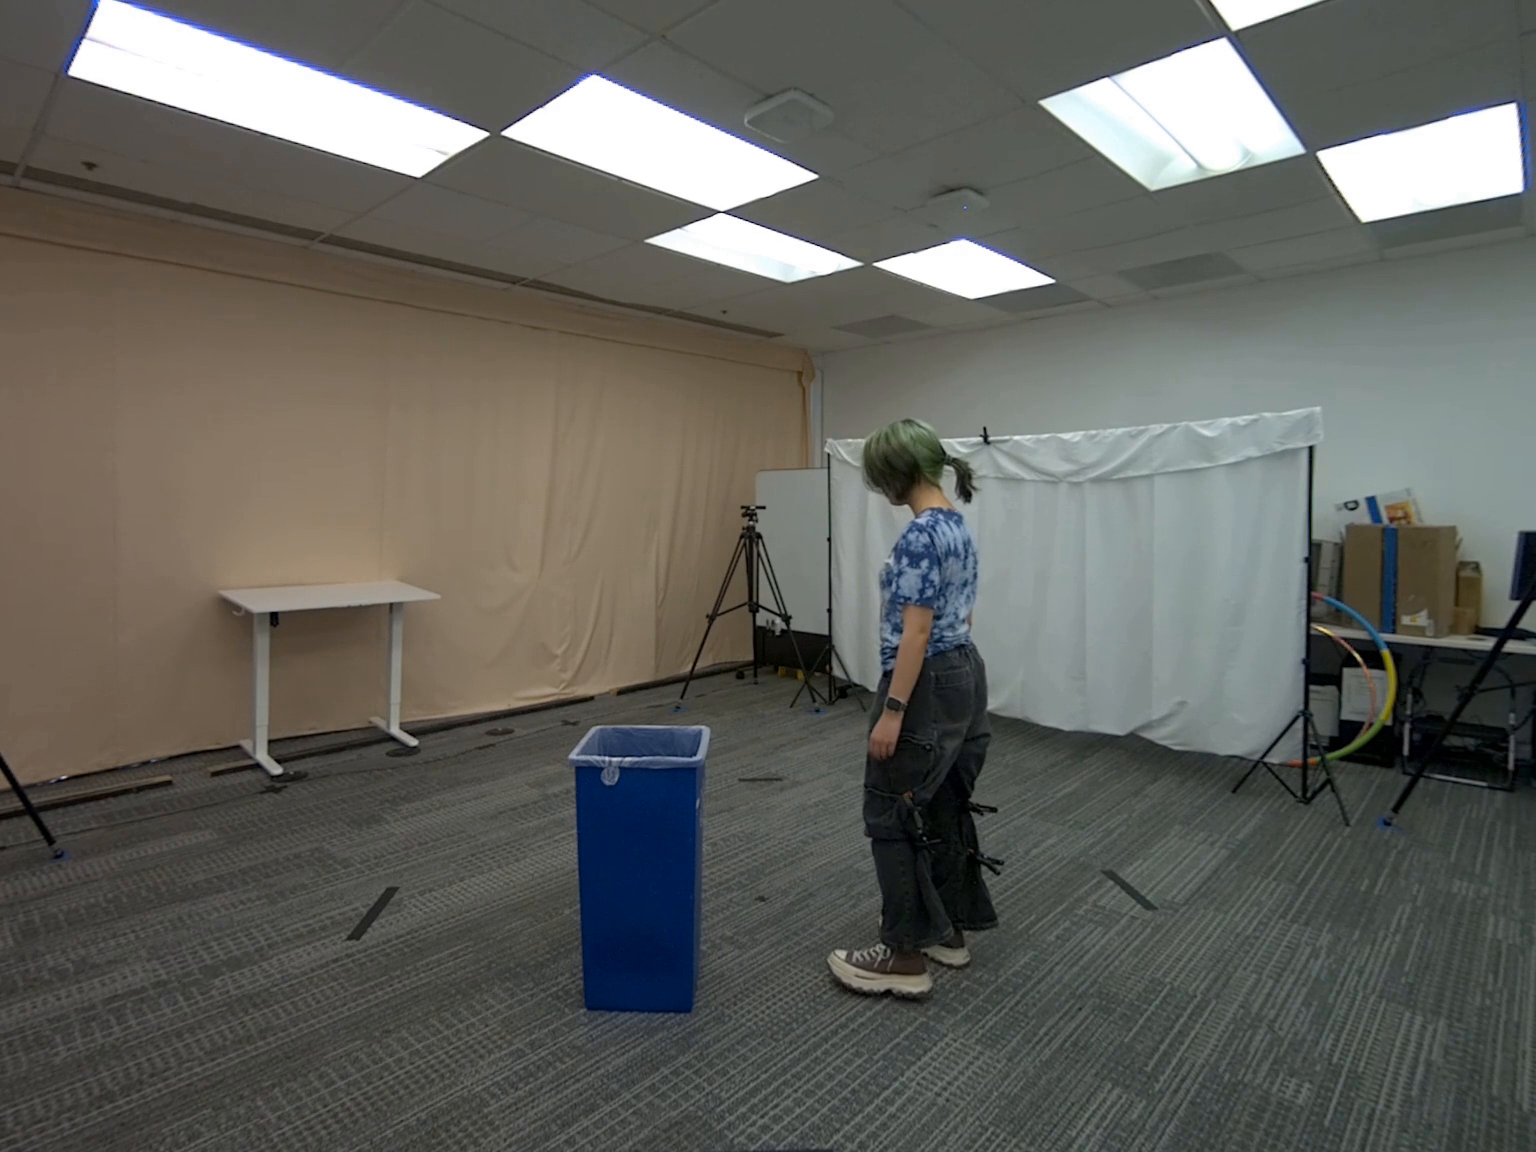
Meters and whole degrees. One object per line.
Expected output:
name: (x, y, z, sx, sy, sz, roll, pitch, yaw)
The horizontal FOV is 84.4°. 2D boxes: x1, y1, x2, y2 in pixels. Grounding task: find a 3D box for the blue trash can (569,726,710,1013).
blue trash can: (-0.359, 0.838, 2.455, 0.379, 0.712, 0.373, 0, 3, 2)
